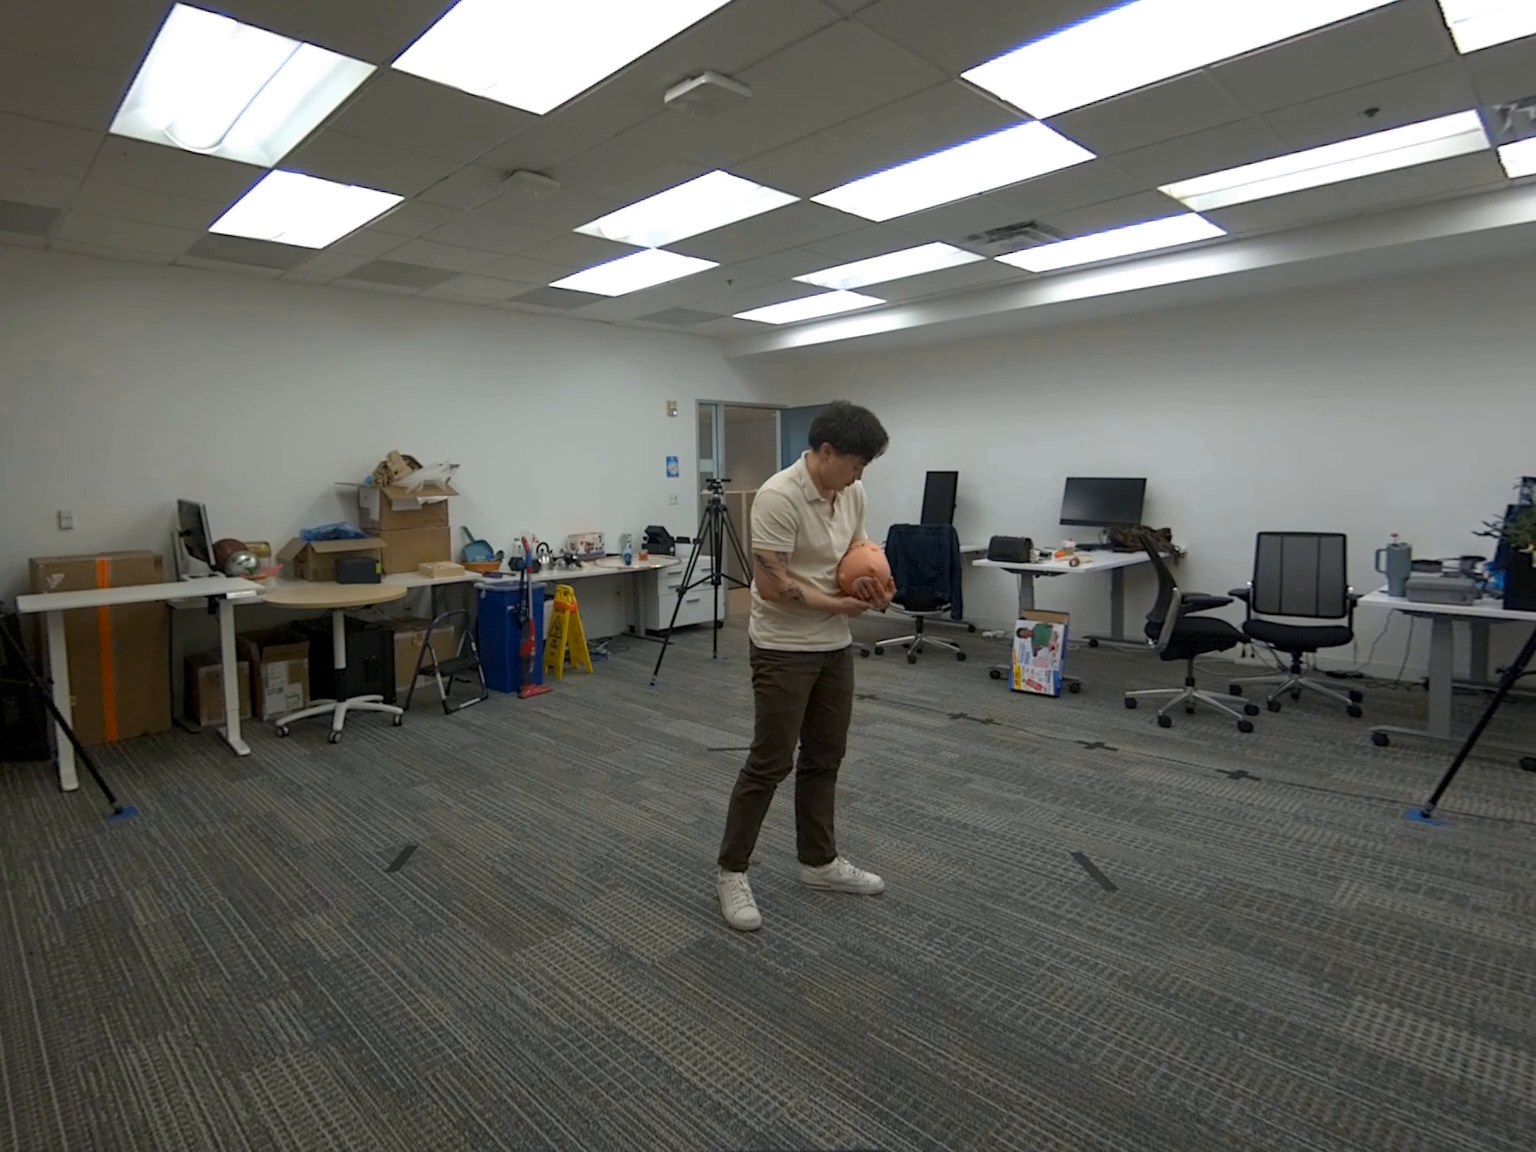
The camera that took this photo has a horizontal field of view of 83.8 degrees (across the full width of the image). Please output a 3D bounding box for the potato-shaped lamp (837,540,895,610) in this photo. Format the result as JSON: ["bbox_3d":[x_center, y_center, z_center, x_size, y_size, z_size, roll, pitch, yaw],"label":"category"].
[{"bbox_3d":[0.297,-0.028,2.789,0.166,0.165,0.203,-22,39,18],"label":"potato-shaped lamp"}]
